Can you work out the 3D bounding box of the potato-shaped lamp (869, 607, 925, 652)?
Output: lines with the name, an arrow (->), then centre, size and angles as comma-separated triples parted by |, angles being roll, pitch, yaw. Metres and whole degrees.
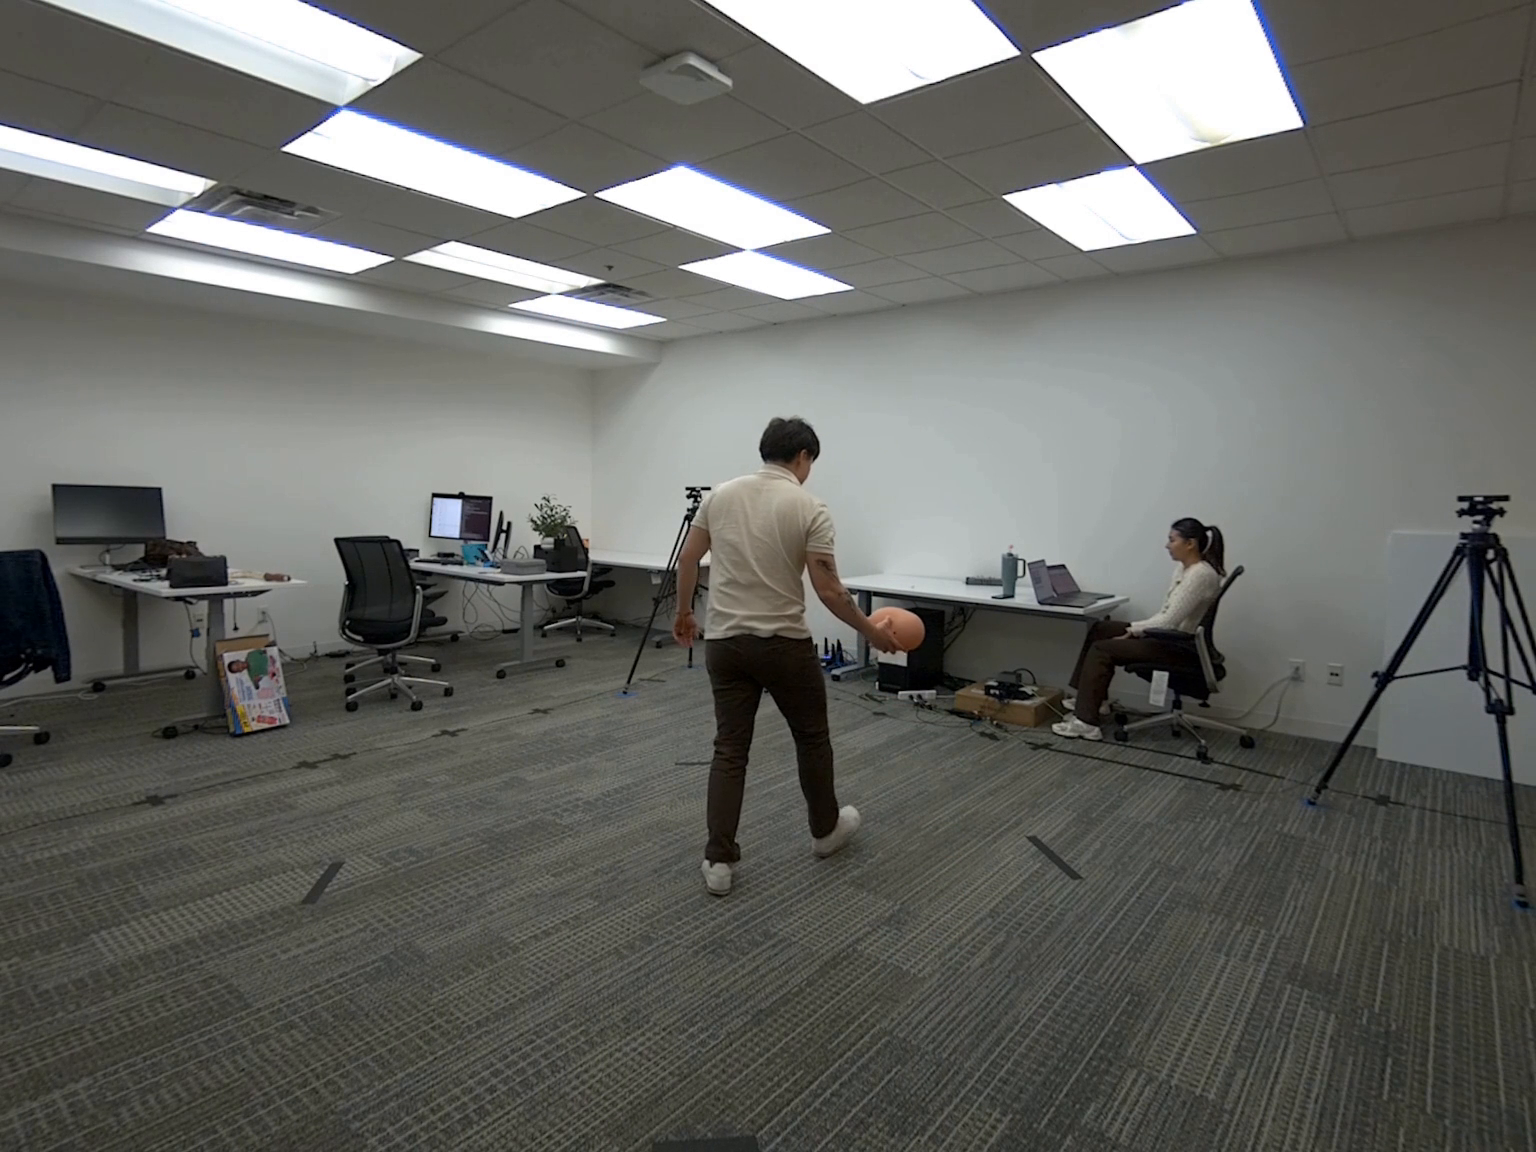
potato-shaped lamp -> 0.476, 0.201, 3.128 | 0.168, 0.162, 0.205 | -17, 16, -31
